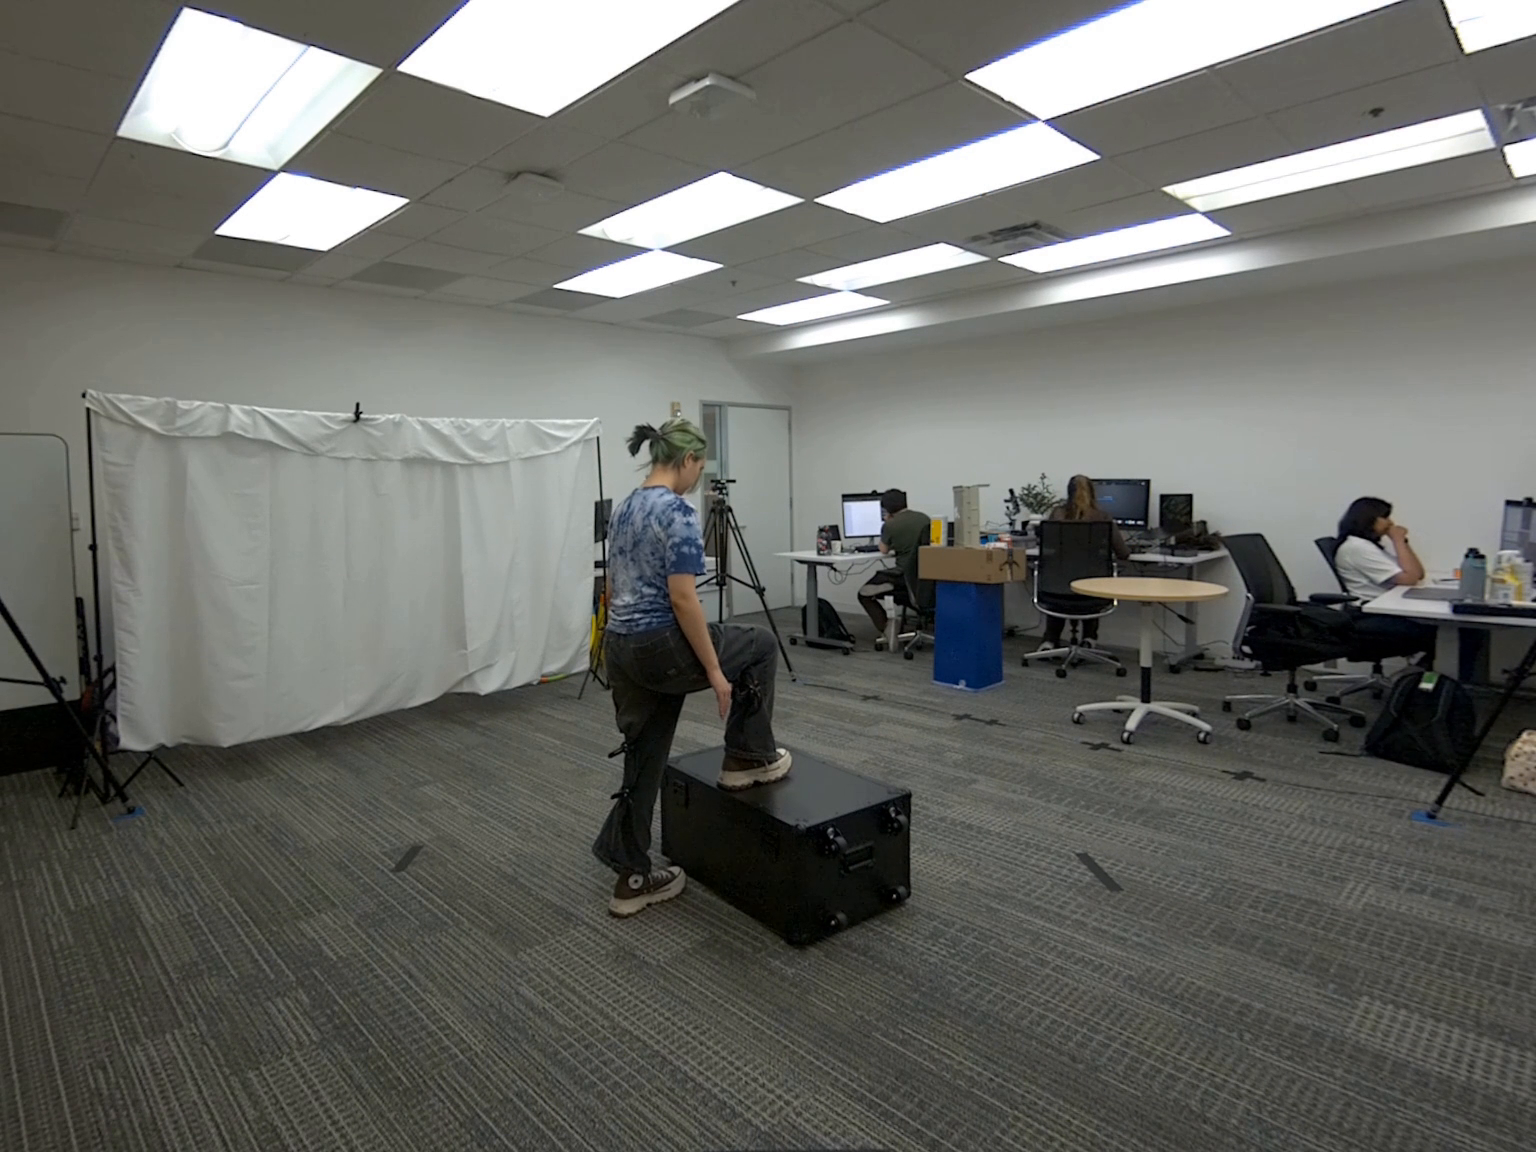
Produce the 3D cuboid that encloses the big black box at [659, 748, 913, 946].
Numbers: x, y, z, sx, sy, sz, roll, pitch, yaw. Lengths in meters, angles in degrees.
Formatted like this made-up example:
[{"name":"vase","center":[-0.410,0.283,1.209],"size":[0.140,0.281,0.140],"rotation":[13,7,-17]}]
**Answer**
[{"name":"big black box","center":[0.054,0.874,2.931],"size":[0.508,0.395,0.887],"rotation":[-5,7,-37]}]
